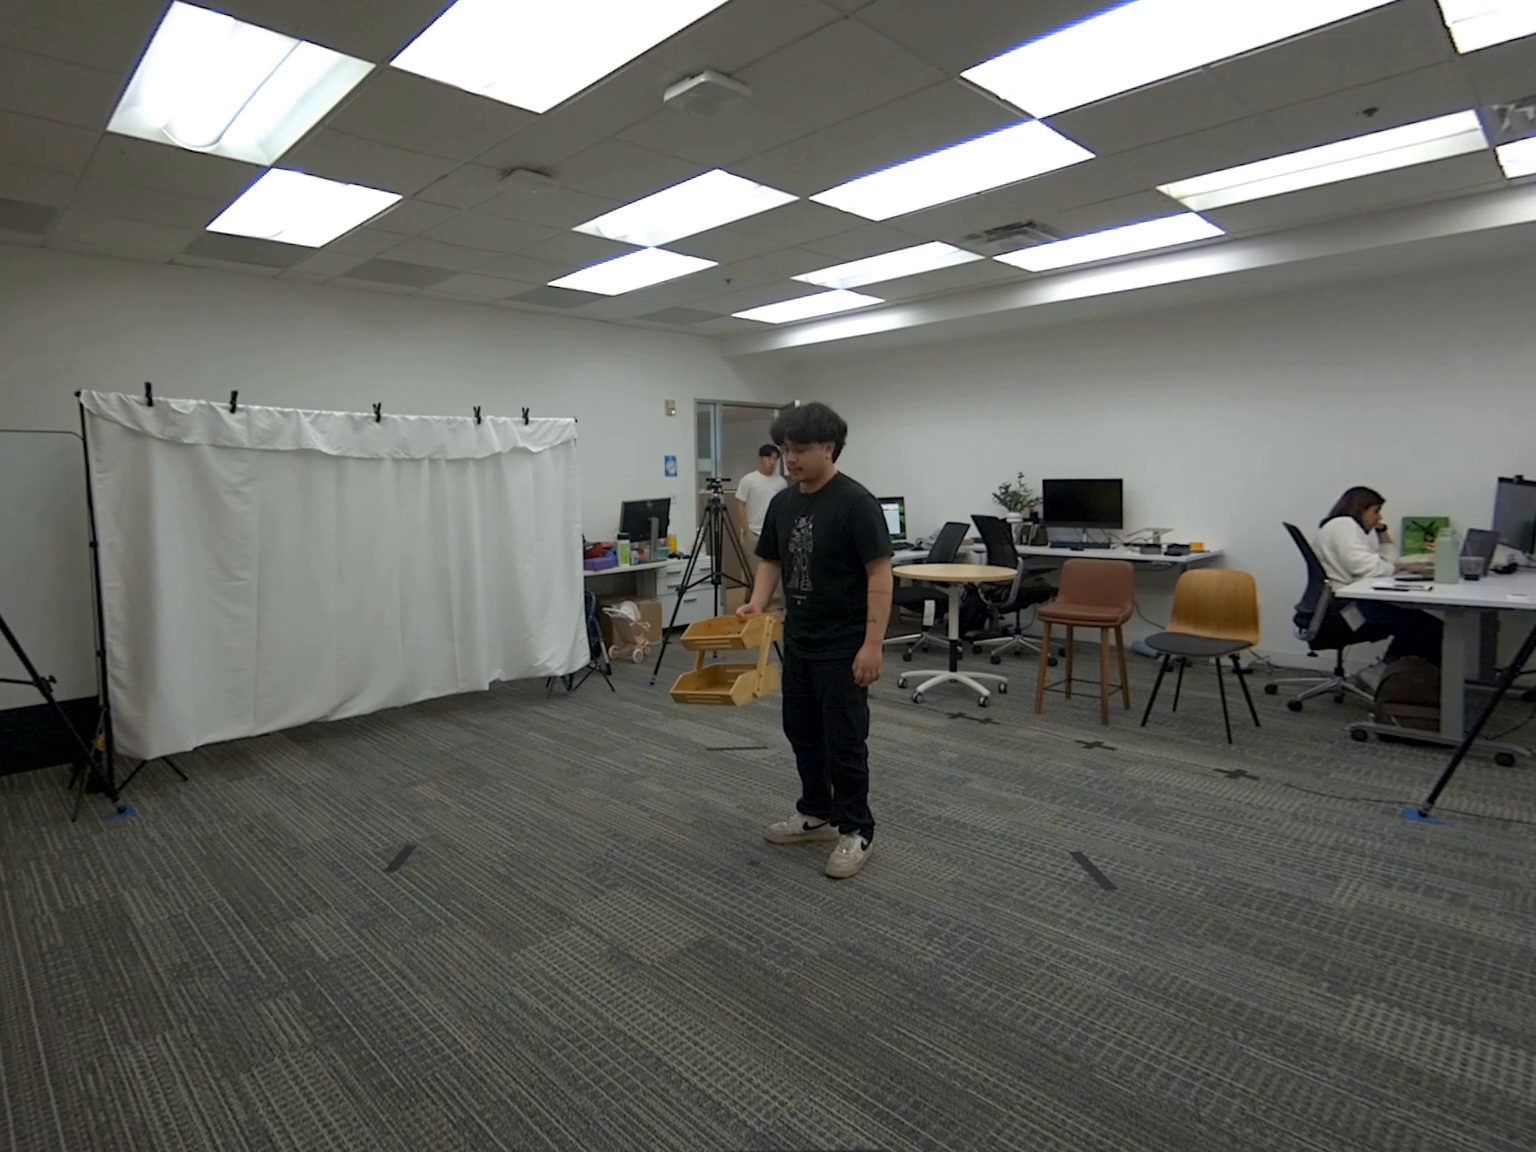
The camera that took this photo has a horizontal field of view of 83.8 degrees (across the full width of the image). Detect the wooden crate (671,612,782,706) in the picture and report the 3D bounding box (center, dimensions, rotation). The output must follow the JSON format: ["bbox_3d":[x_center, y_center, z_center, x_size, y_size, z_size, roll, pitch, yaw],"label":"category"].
[{"bbox_3d":[-0.150,0.284,2.992,0.333,0.273,0.295,-6,3,43],"label":"wooden crate"}]
